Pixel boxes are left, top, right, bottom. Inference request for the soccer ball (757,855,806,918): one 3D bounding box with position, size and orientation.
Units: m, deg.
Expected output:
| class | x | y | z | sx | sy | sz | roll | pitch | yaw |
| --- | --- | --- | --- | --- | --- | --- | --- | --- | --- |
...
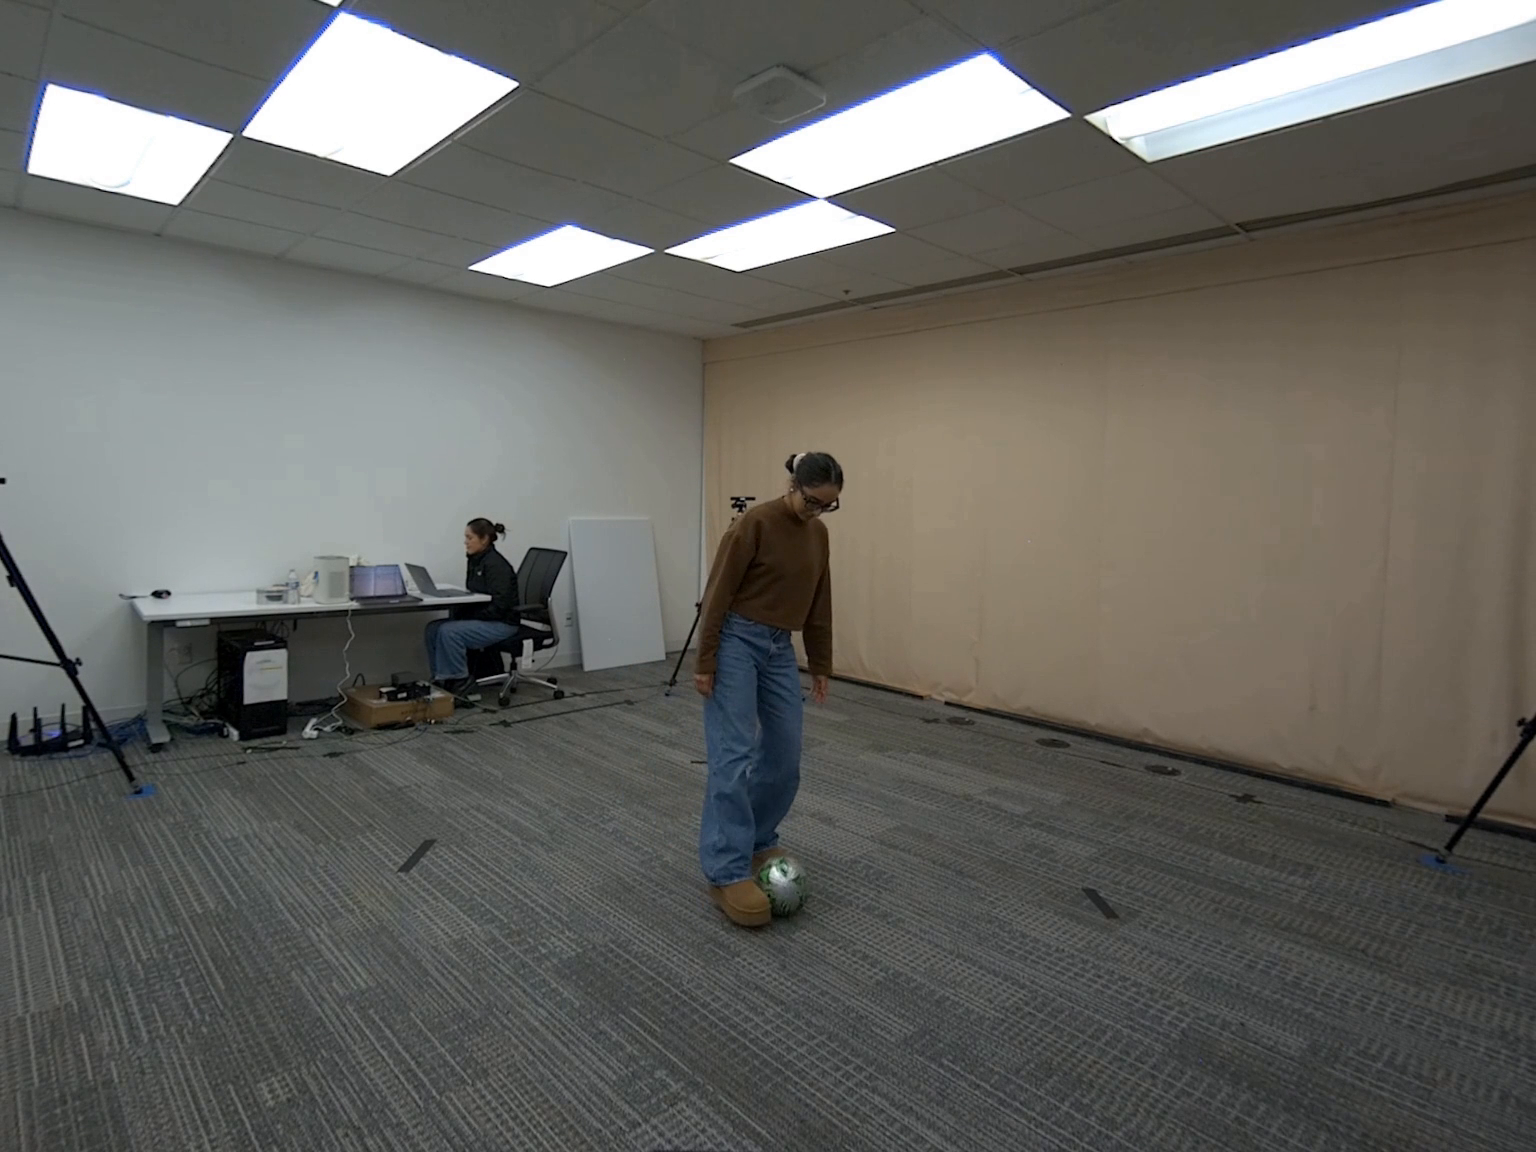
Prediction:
| class | x | y | z | sx | sy | sz | roll | pitch | yaw |
| --- | --- | --- | --- | --- | --- | --- | --- | --- | --- |
| soccer ball | 0.040 | 1.041 | 2.835 | 0.187 | 0.187 | 0.188 | 1 | 4 | -1 |
